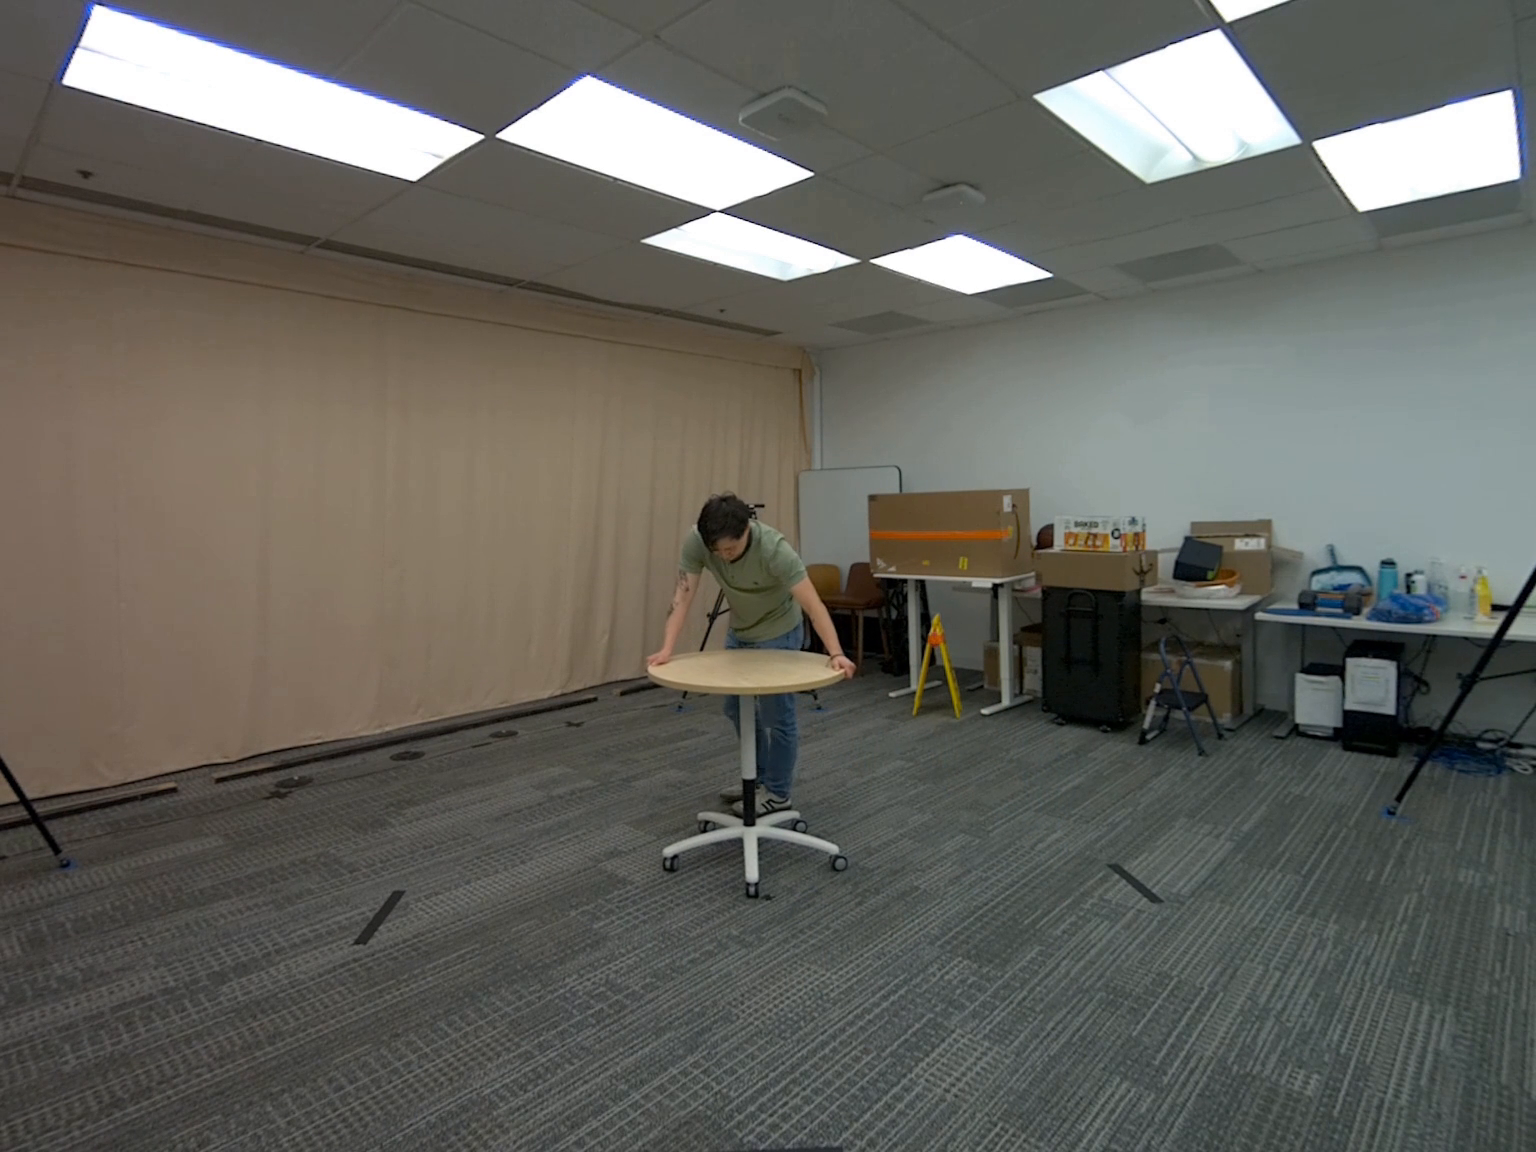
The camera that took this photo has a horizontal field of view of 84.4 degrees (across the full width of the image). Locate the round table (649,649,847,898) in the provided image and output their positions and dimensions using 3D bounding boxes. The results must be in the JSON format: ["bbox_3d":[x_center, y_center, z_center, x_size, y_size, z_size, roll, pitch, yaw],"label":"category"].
[{"bbox_3d":[-0.074,0.731,3.286,0.763,0.792,0.766,-1,4,-2],"label":"round table"}]
